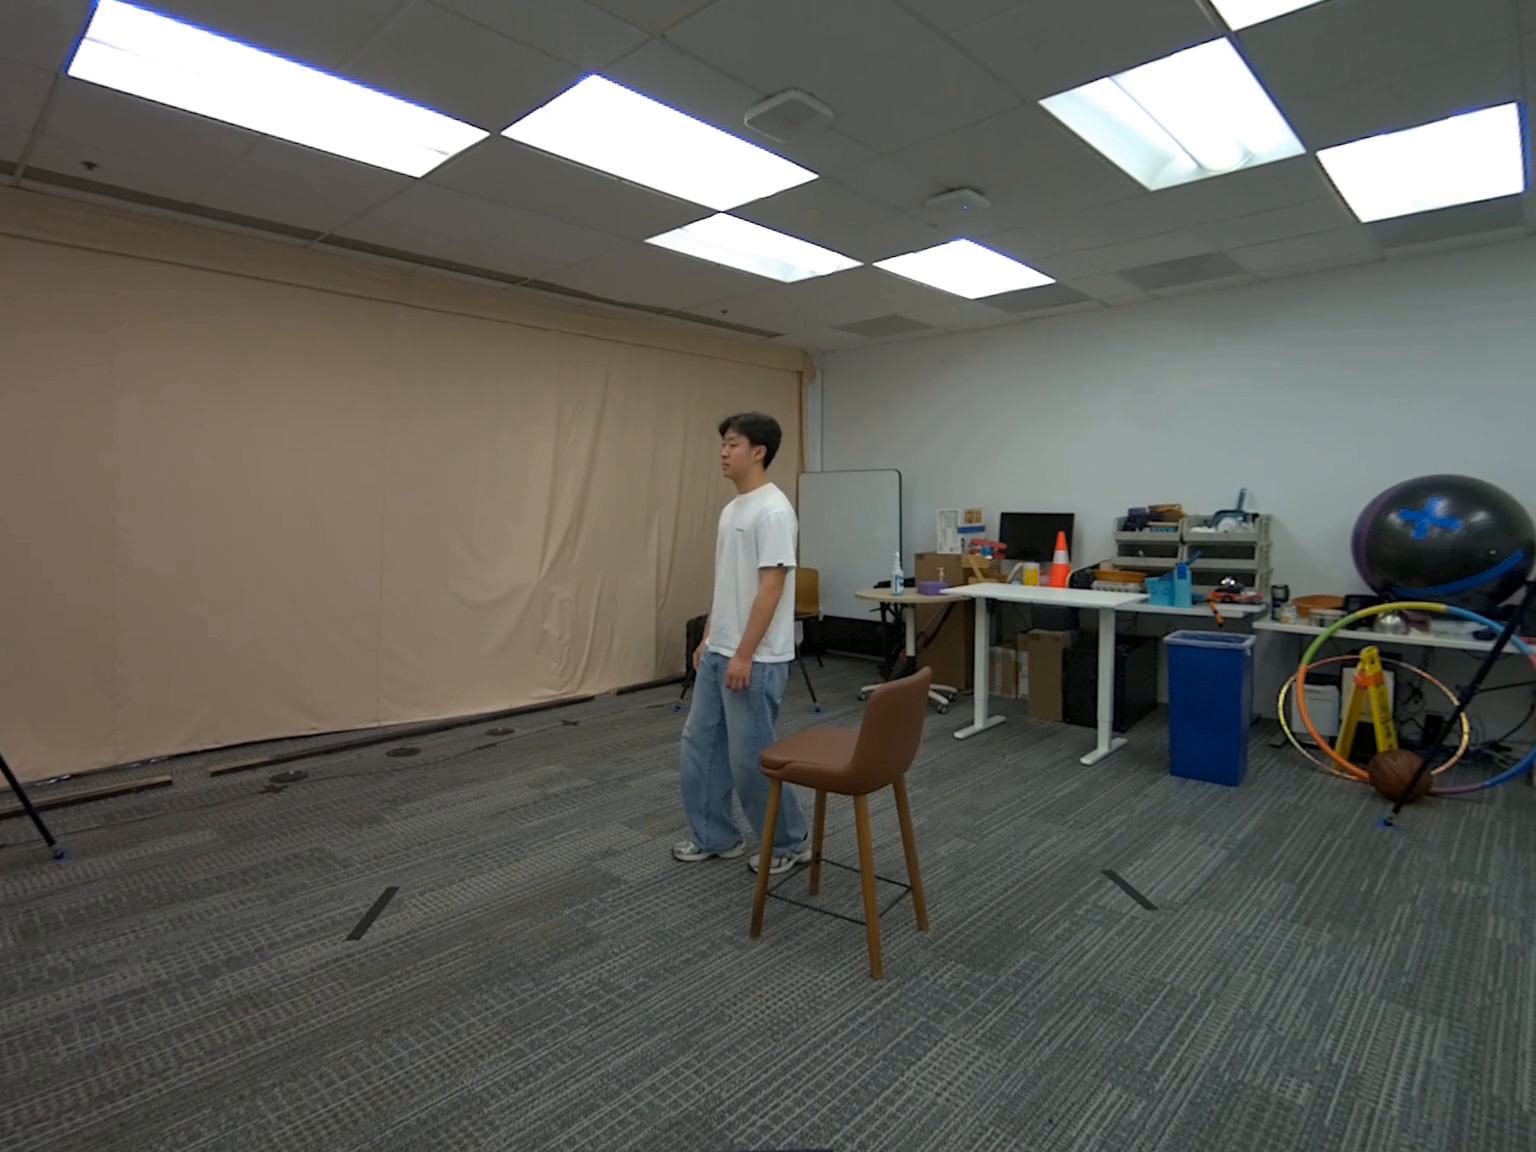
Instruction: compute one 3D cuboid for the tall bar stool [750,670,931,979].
[{"bbox_3d":[0.249,0.729,2.721,0.483,0.887,0.443,5,6,35],"label":"tall bar stool"}]
